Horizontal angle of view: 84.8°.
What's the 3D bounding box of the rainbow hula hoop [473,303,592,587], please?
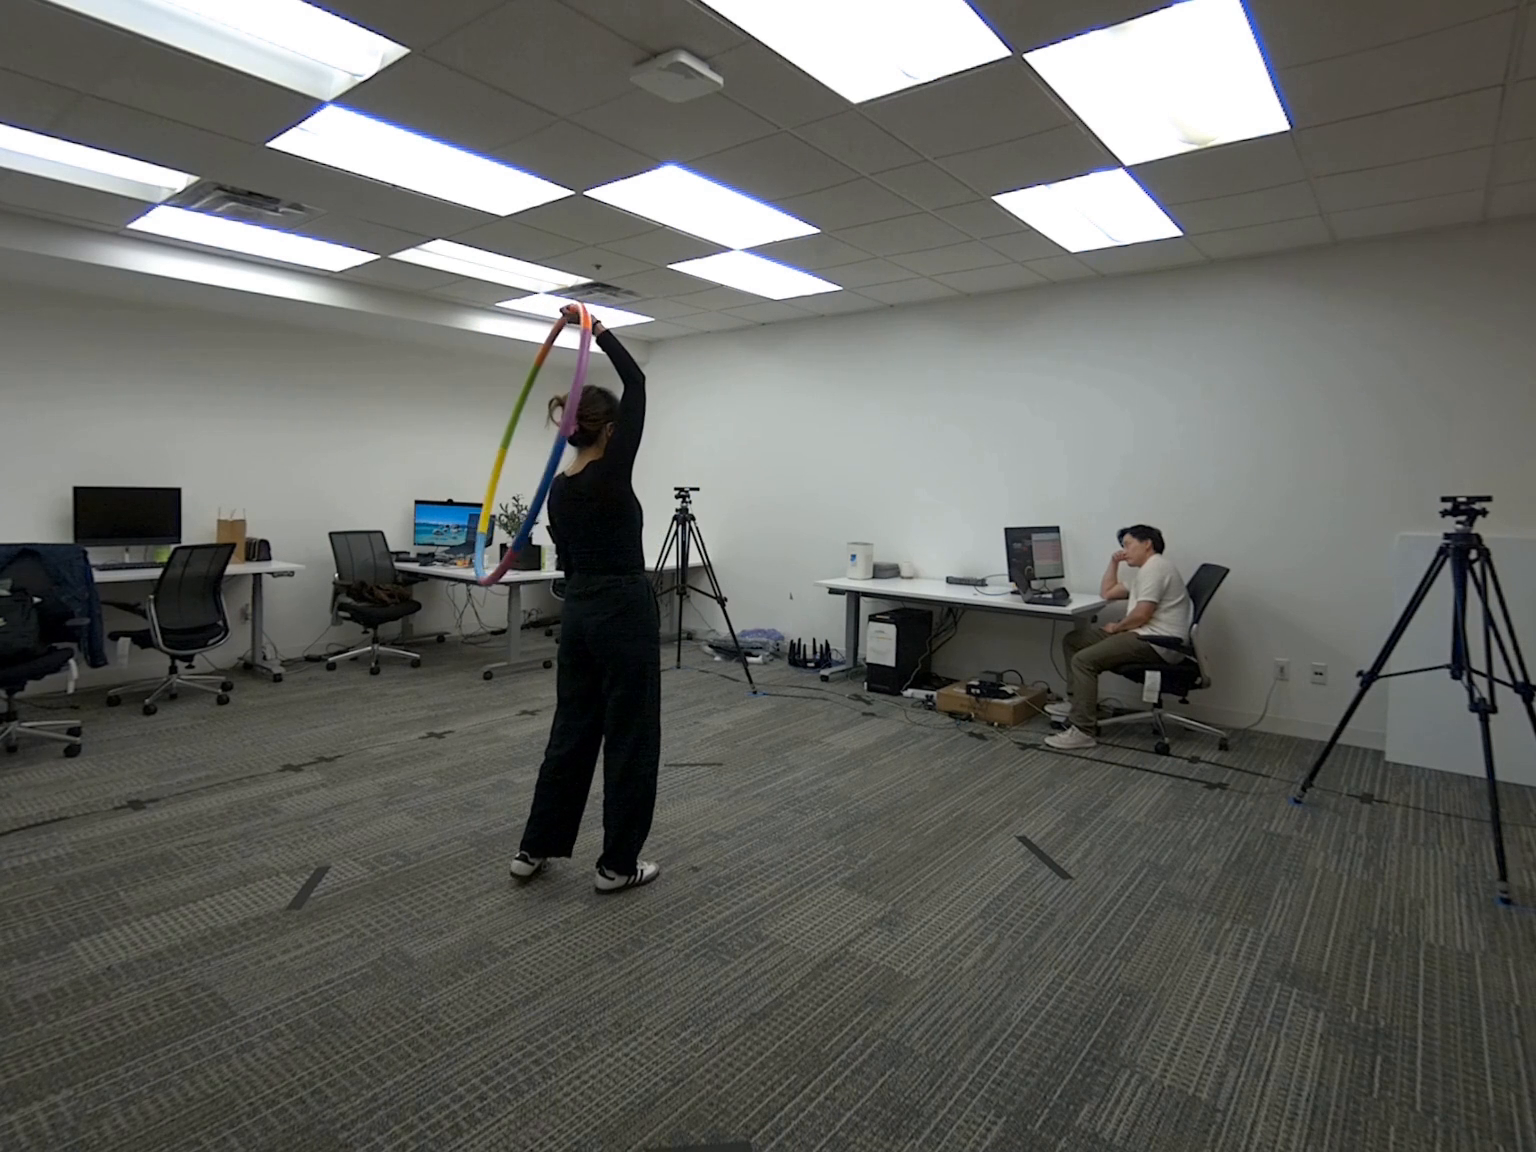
[{"bbox_3d":[-0.800,-0.441,2.851,0.050,0.988,1.014,18,-4,-28],"label":"rainbow hula hoop"}]
